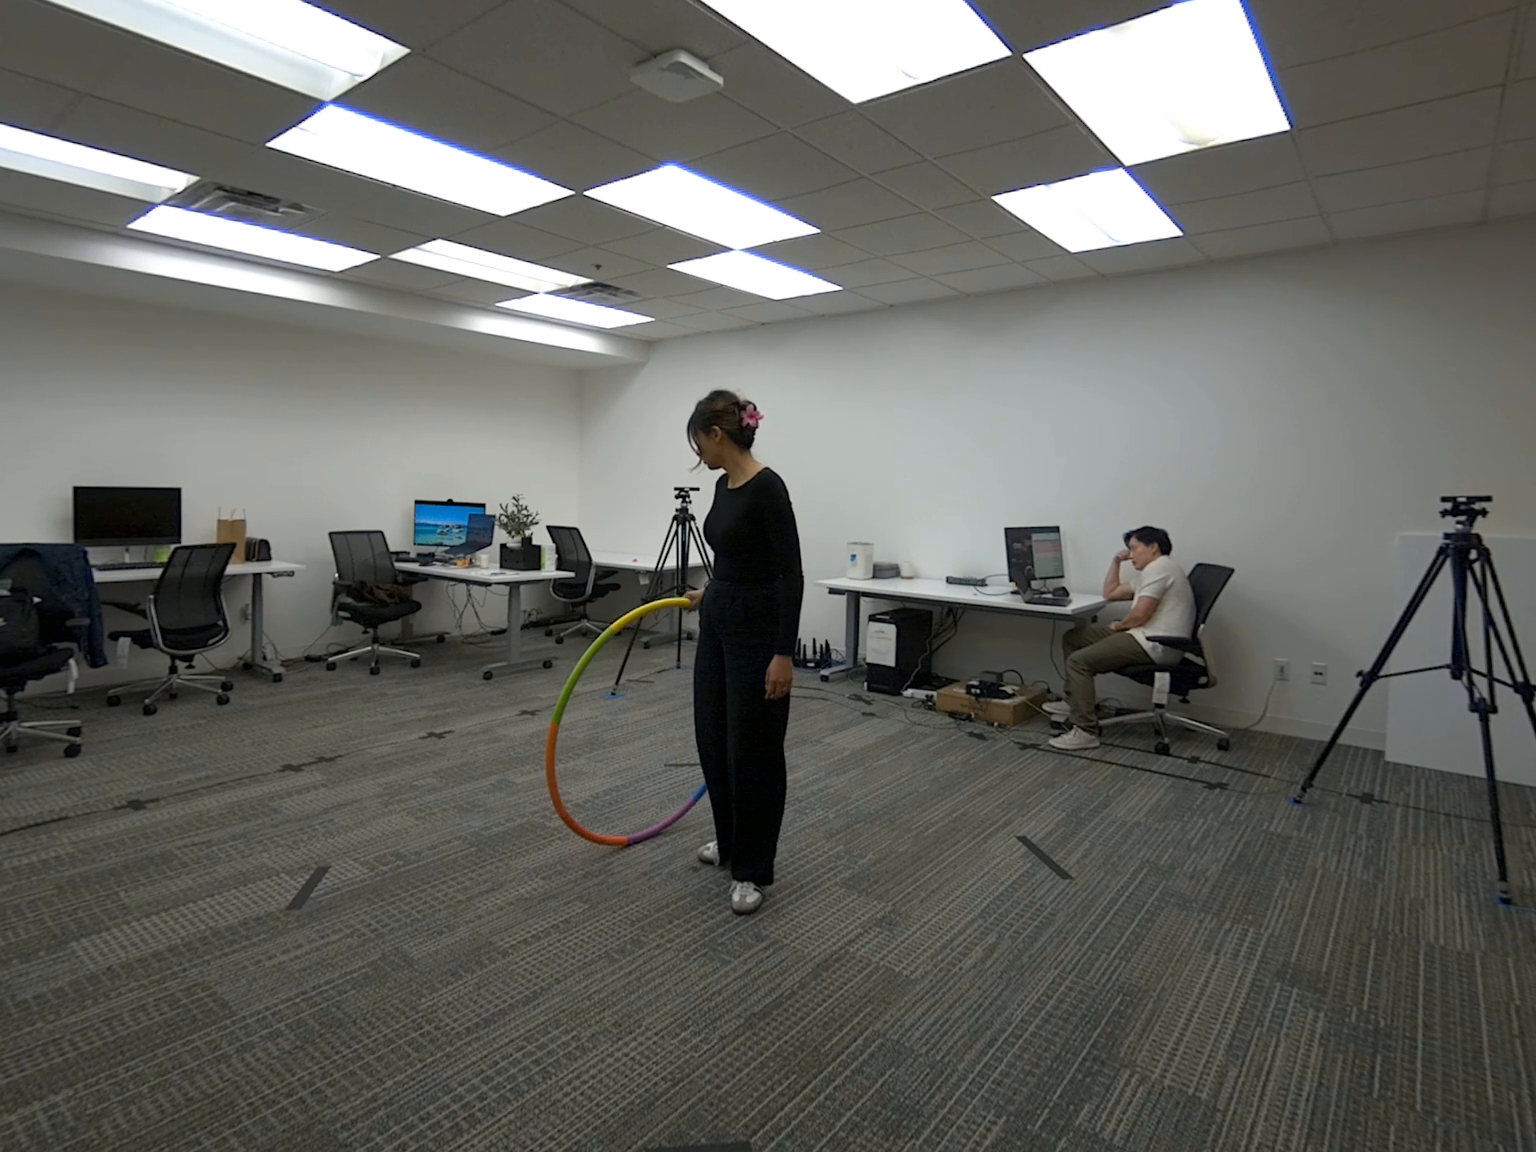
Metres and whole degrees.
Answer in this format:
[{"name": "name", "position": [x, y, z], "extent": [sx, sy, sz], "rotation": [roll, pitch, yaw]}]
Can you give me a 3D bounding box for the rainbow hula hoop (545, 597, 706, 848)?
[{"name": "rainbow hula hoop", "position": [-0.437, 0.563, 3.286], "extent": [0.037, 0.971, 0.949], "rotation": [16, 13, 42]}]
